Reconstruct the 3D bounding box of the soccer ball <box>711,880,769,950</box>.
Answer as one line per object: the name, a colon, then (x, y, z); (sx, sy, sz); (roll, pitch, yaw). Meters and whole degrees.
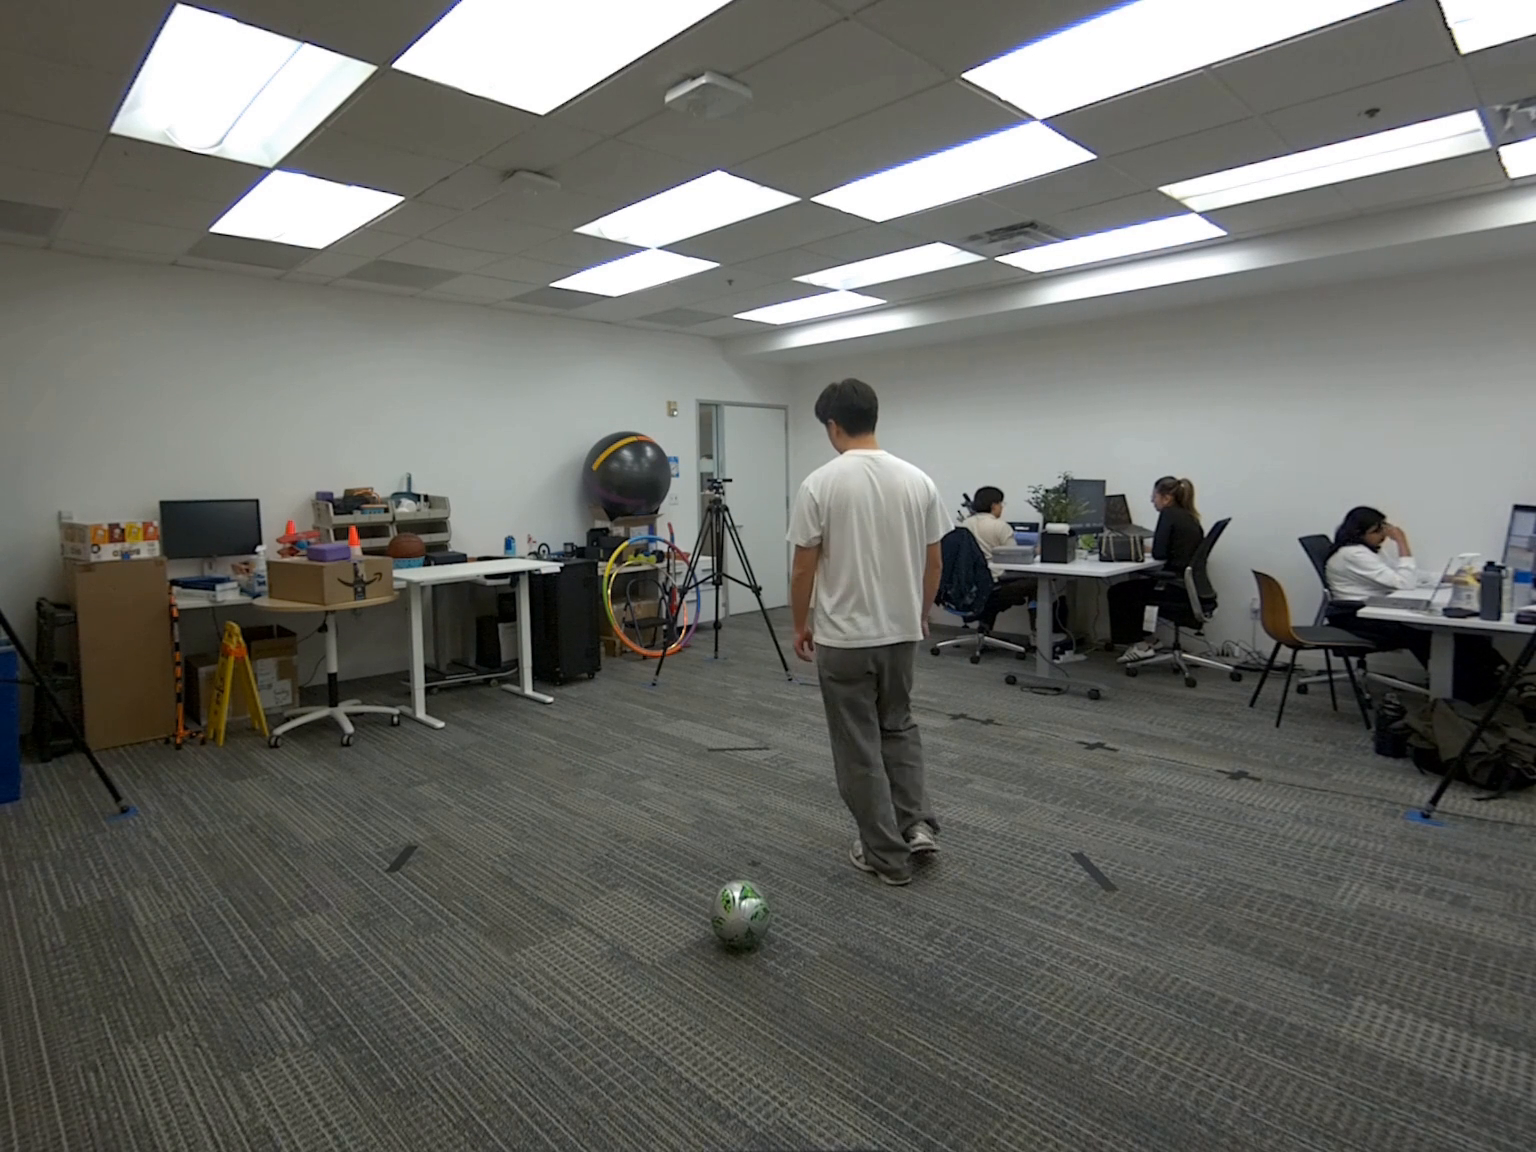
soccer ball: (-0.074, 1.020, 2.571); (0.187, 0.187, 0.188); (-1, 5, -2)
